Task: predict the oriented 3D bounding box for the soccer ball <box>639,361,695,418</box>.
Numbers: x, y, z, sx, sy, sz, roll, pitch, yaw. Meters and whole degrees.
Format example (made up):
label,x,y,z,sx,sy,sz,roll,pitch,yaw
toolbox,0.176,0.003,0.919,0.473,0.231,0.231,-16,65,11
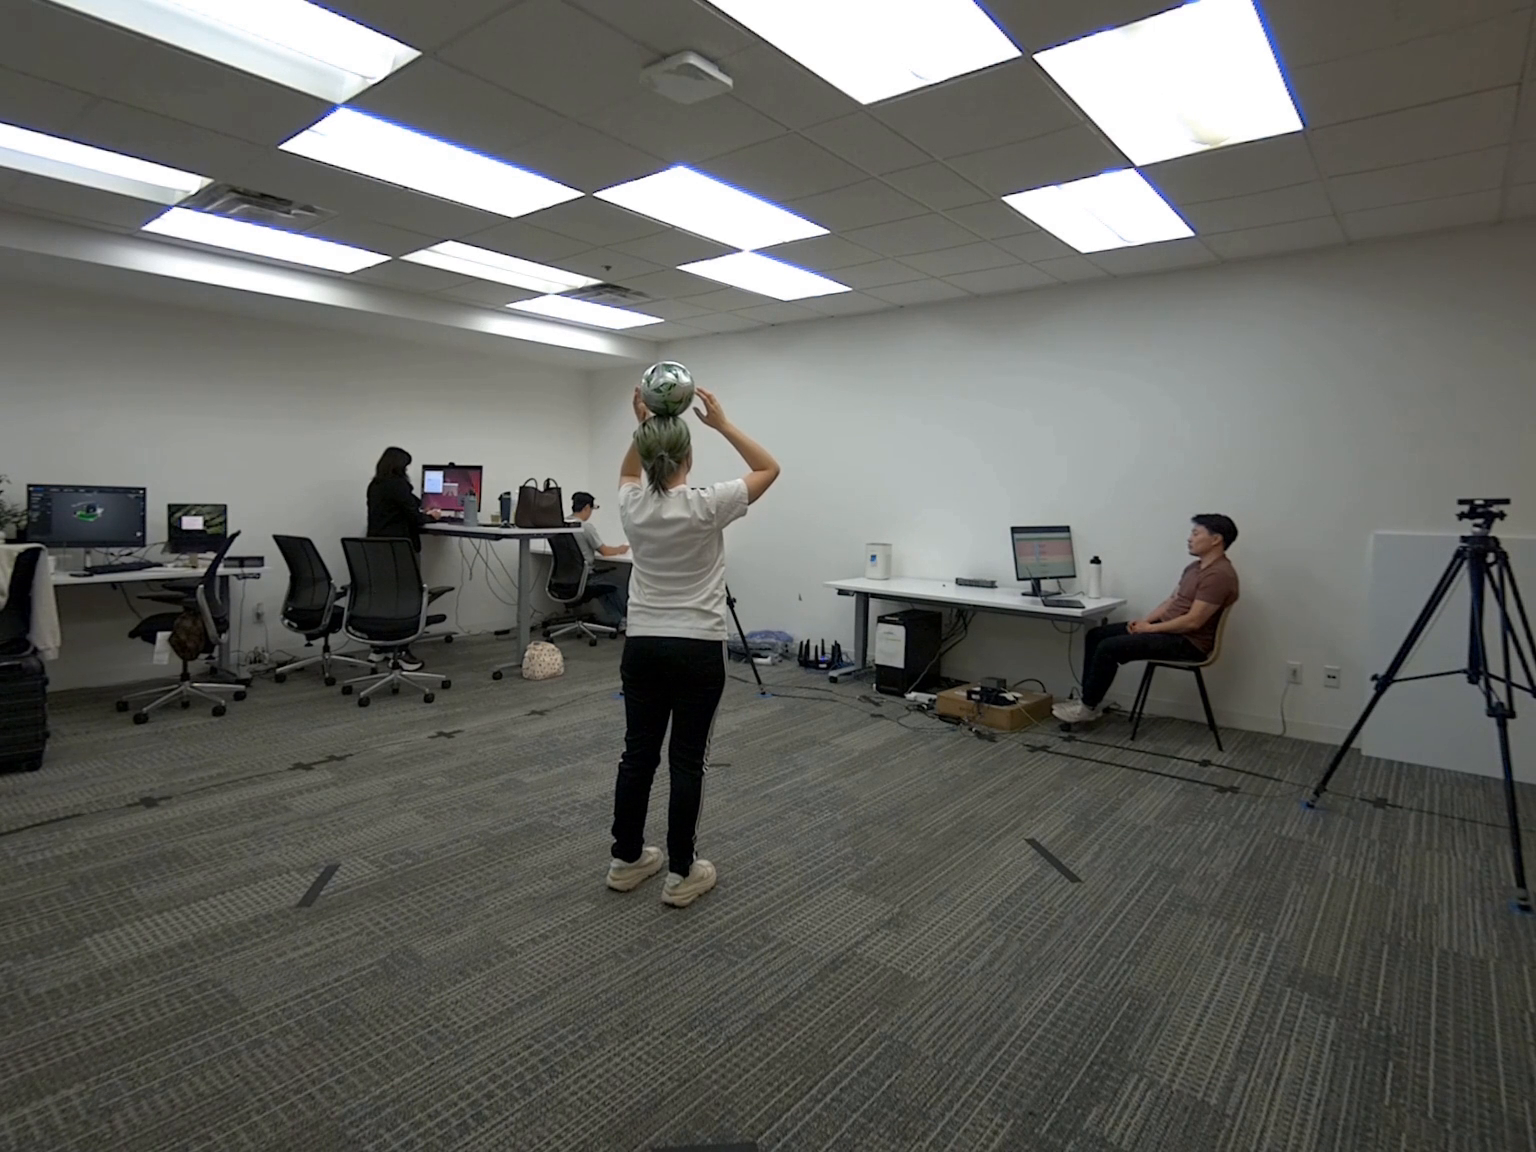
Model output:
label,x,y,z,sx,sy,sz,roll,pitch,yaw
soccer ball,-0.350,-0.637,2.893,0.187,0.187,0.188,1,4,-2
